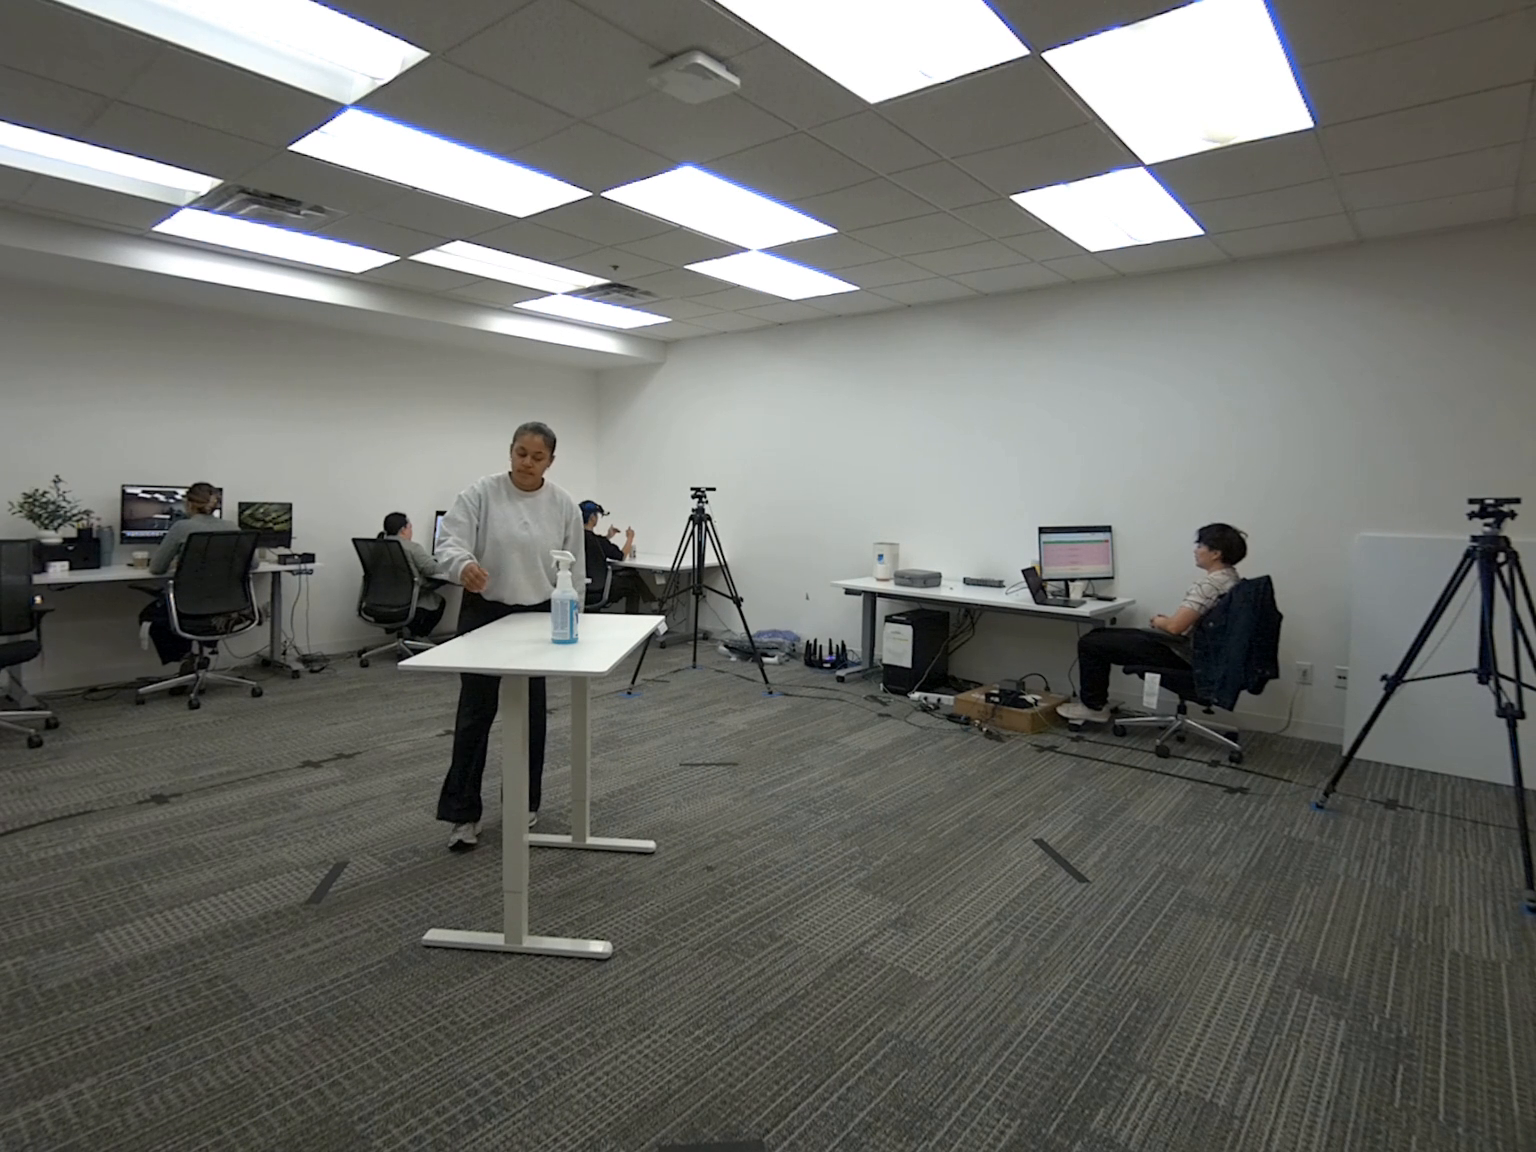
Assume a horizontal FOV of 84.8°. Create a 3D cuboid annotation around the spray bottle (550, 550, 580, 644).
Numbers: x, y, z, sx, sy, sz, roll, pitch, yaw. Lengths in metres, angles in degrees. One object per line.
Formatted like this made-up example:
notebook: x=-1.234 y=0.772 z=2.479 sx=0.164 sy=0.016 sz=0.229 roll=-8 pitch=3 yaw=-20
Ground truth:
spray bottle: x=-0.679 y=0.064 z=2.750 sx=0.084 sy=0.296 sz=0.093 roll=-3 pitch=5 yaw=-44
